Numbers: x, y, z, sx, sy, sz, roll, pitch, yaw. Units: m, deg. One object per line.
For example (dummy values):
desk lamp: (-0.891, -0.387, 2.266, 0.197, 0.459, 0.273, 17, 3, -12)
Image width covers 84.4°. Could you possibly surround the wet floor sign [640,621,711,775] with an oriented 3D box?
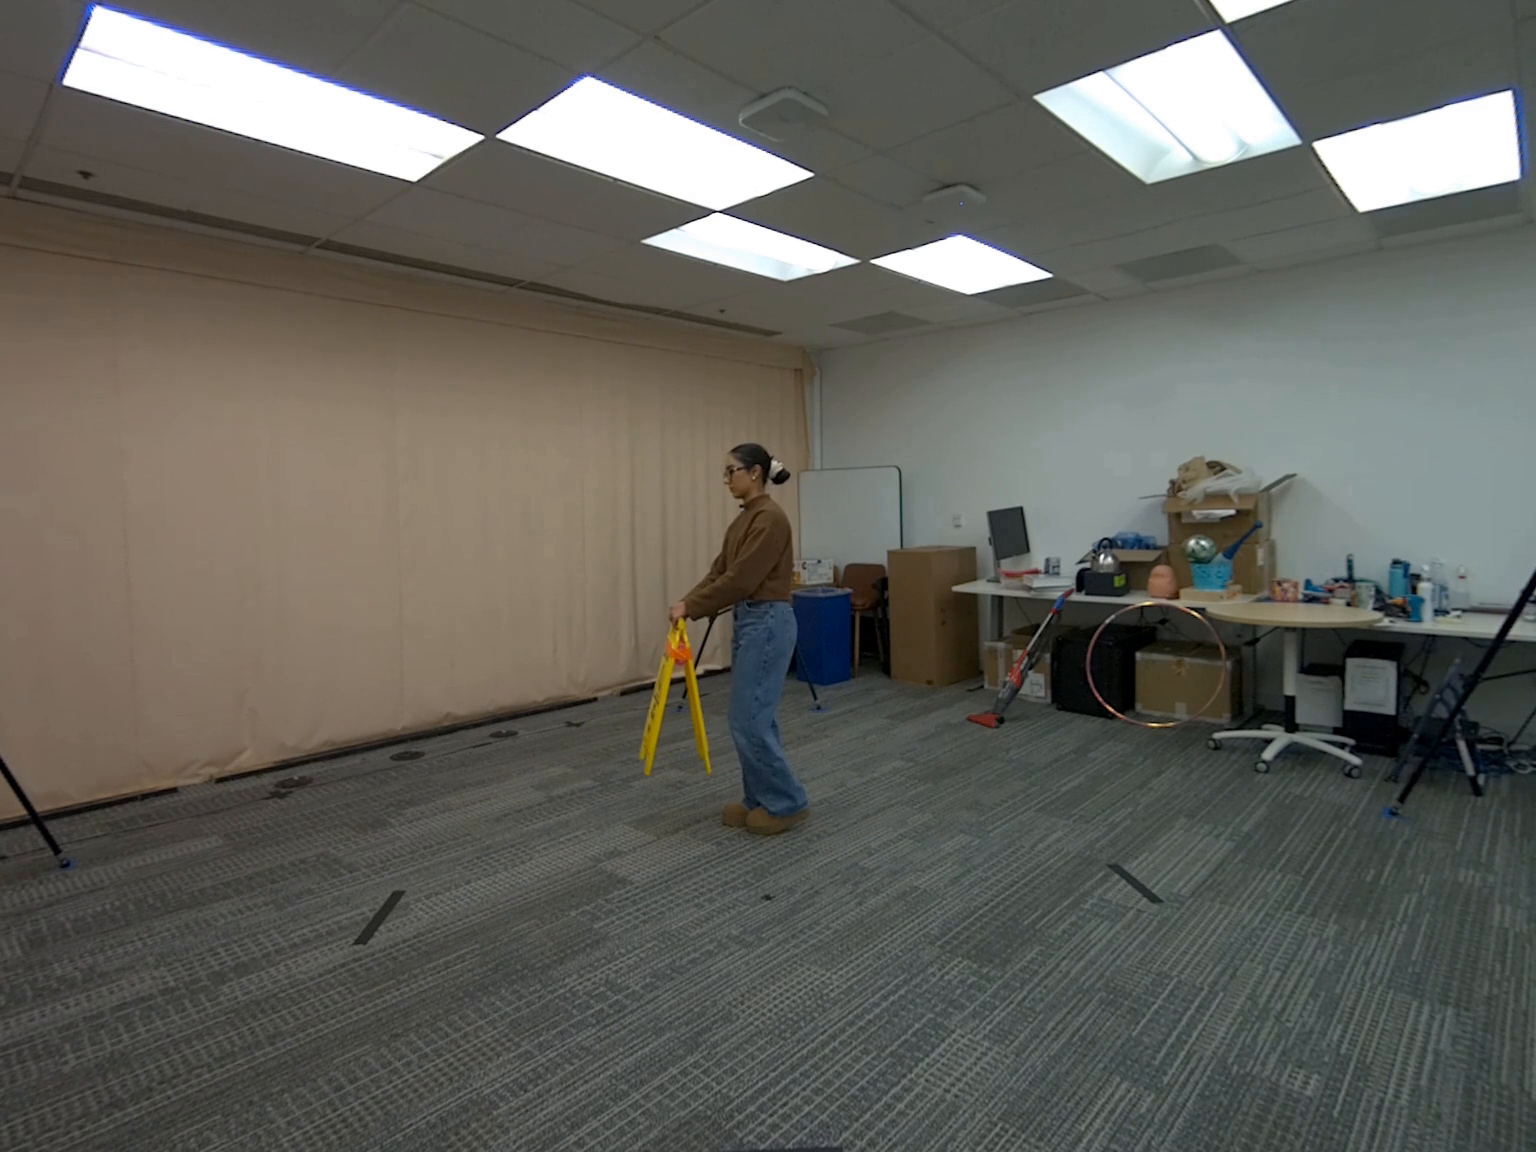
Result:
wet floor sign: (-0.385, 0.486, 3.559, 0.286, 0.645, 0.286, 0, 3, -13)
